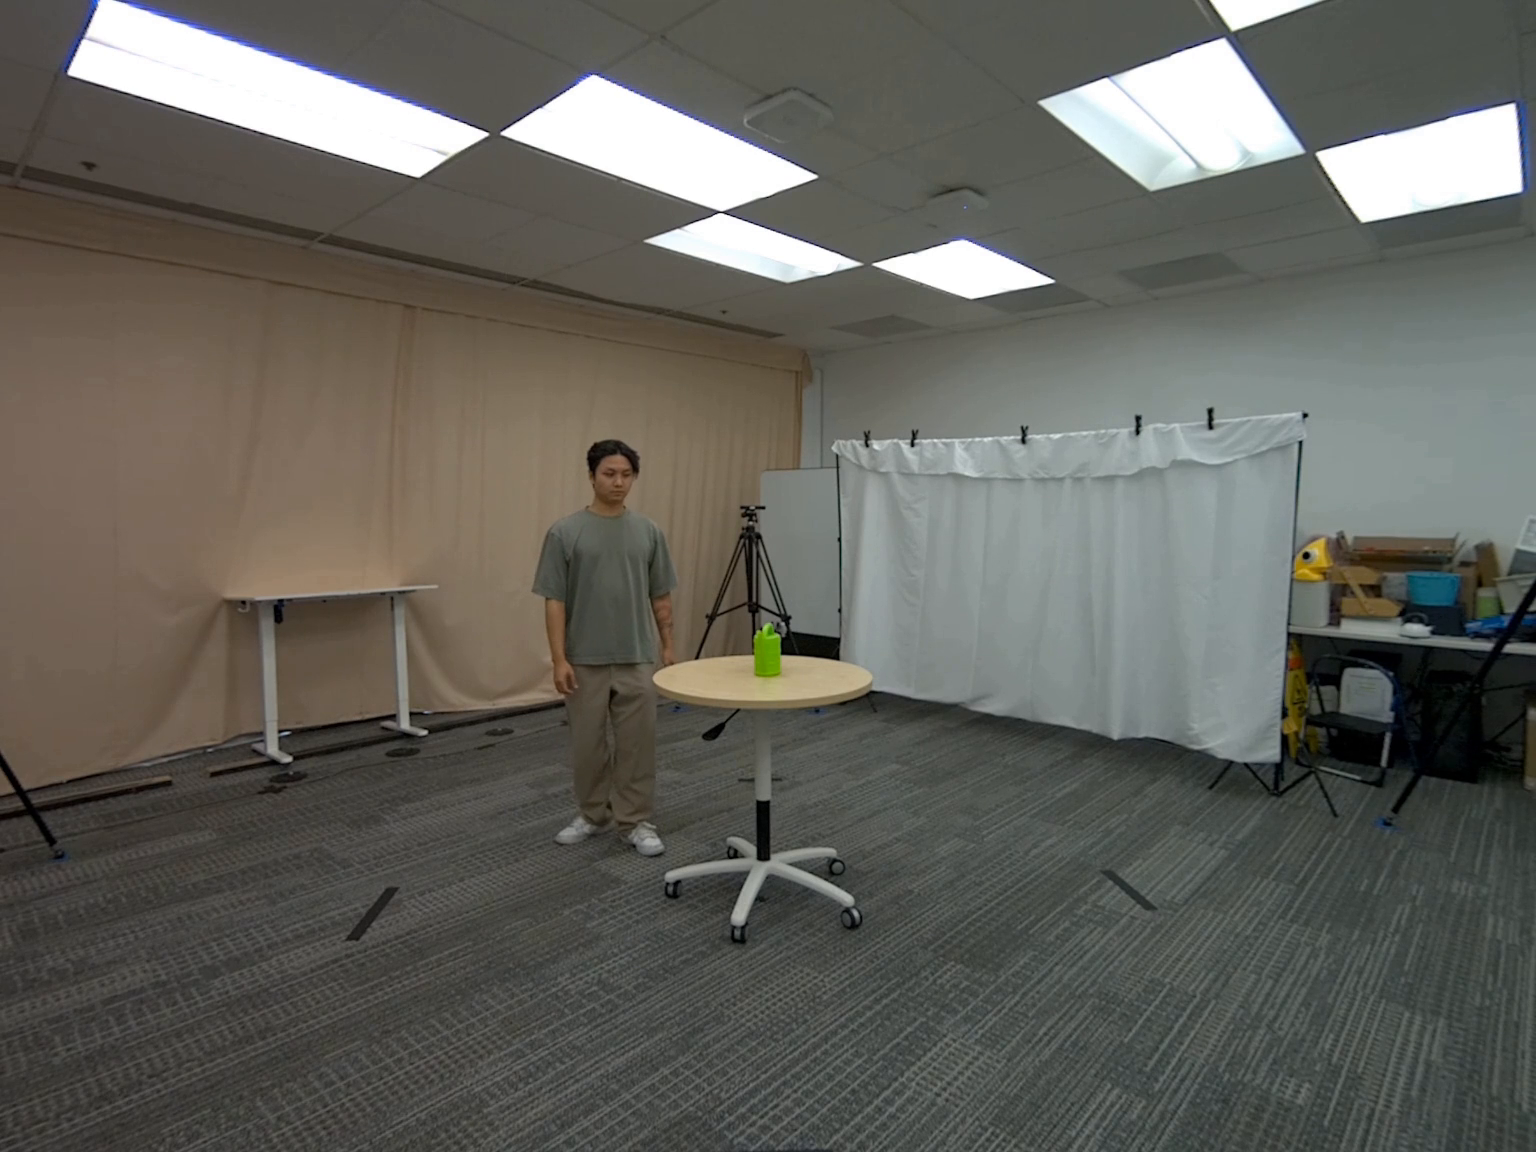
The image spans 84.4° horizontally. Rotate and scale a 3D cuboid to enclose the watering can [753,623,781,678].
[{"bbox_3d":[-0.019,0.264,2.942,0.101,0.176,0.271,2,3,29],"label":"watering can"}]
